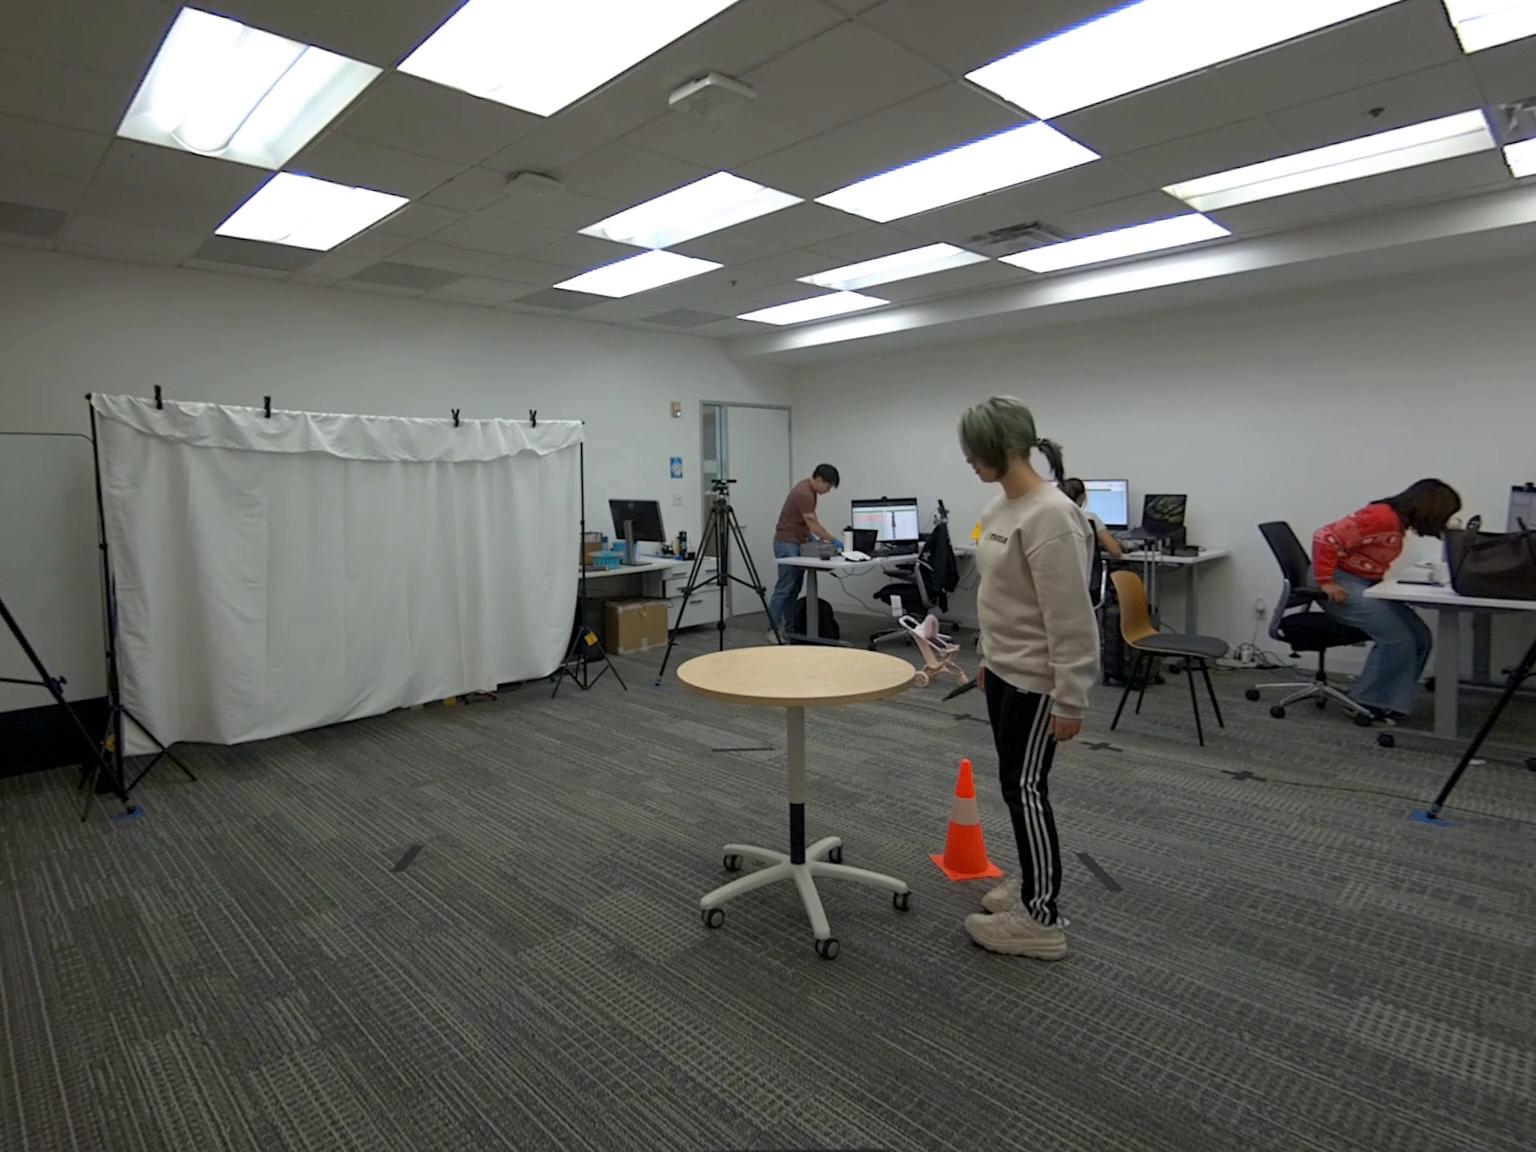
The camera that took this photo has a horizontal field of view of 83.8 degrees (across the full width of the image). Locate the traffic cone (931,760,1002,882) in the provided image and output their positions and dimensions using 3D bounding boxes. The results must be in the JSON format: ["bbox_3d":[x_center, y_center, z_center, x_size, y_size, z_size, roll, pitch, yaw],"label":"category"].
[{"bbox_3d":[0.716,0.855,3.054,0.203,0.382,0.206,-1,4,-12],"label":"traffic cone"}]
